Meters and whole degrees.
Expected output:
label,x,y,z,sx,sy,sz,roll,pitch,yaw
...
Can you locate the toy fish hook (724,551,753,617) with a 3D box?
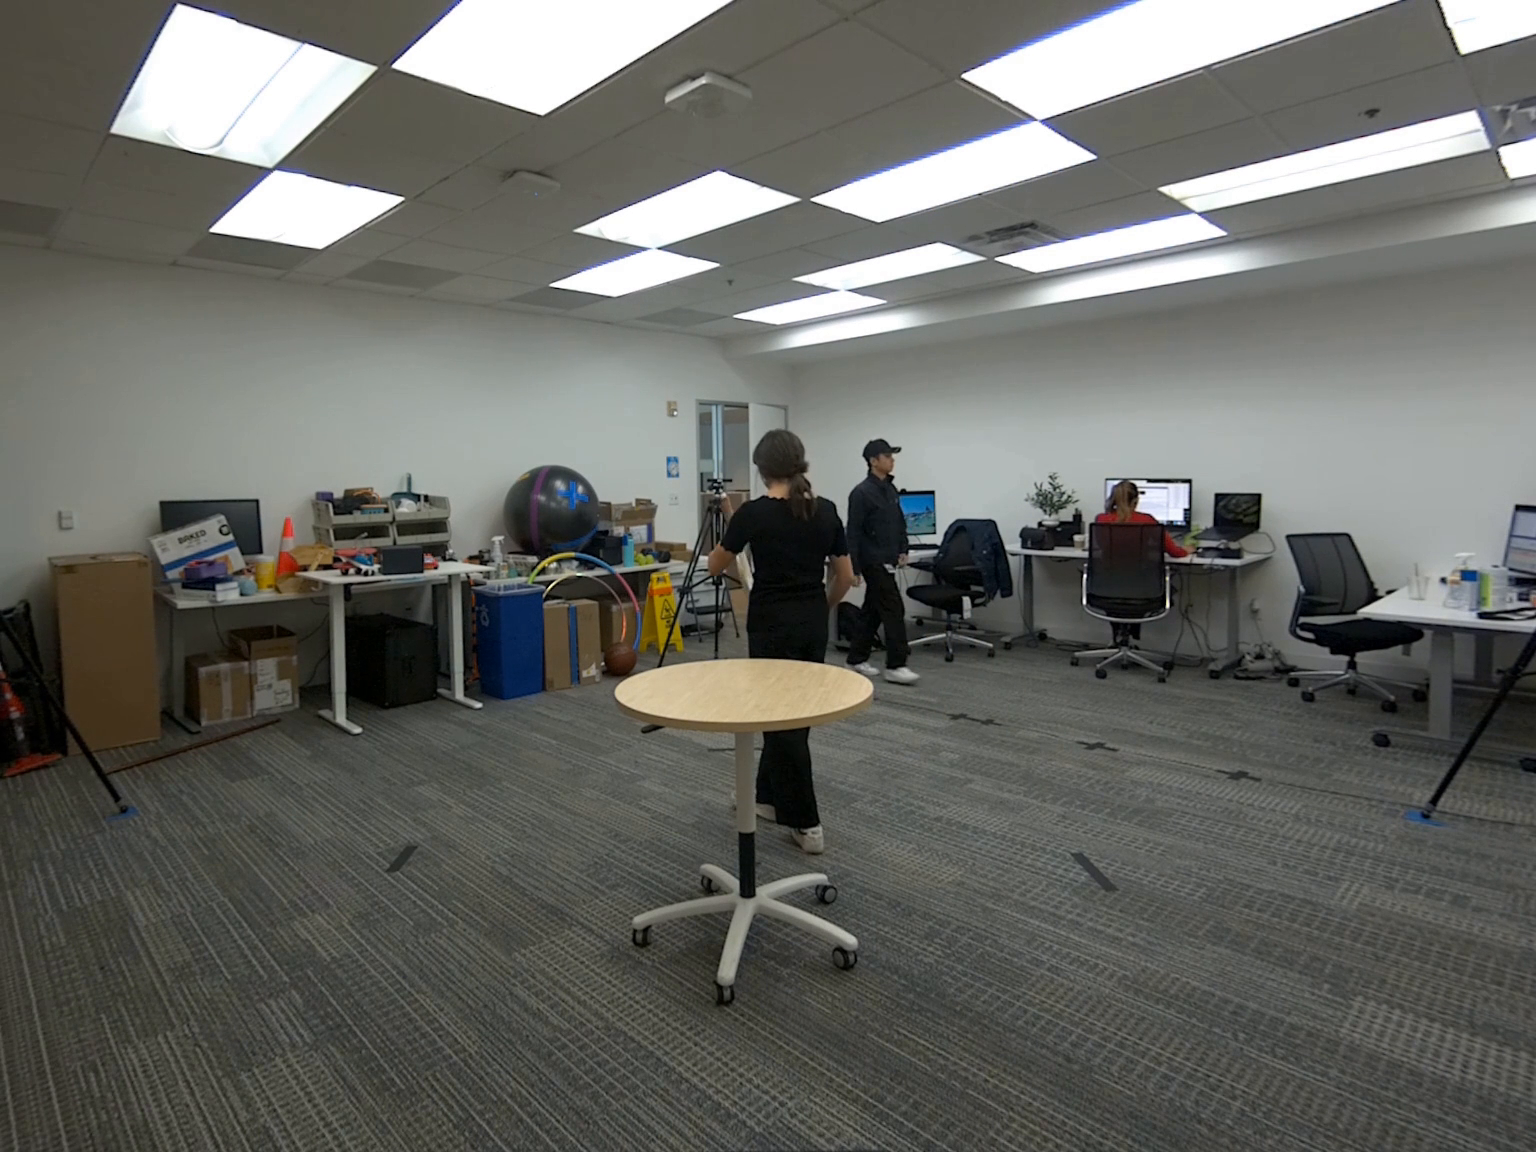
label,x,y,z,sx,sy,sz,roll,pitch,yaw
toy fish hook,-0.138,-0.133,3.579,0.048,0.515,0.221,-15,-15,-6
